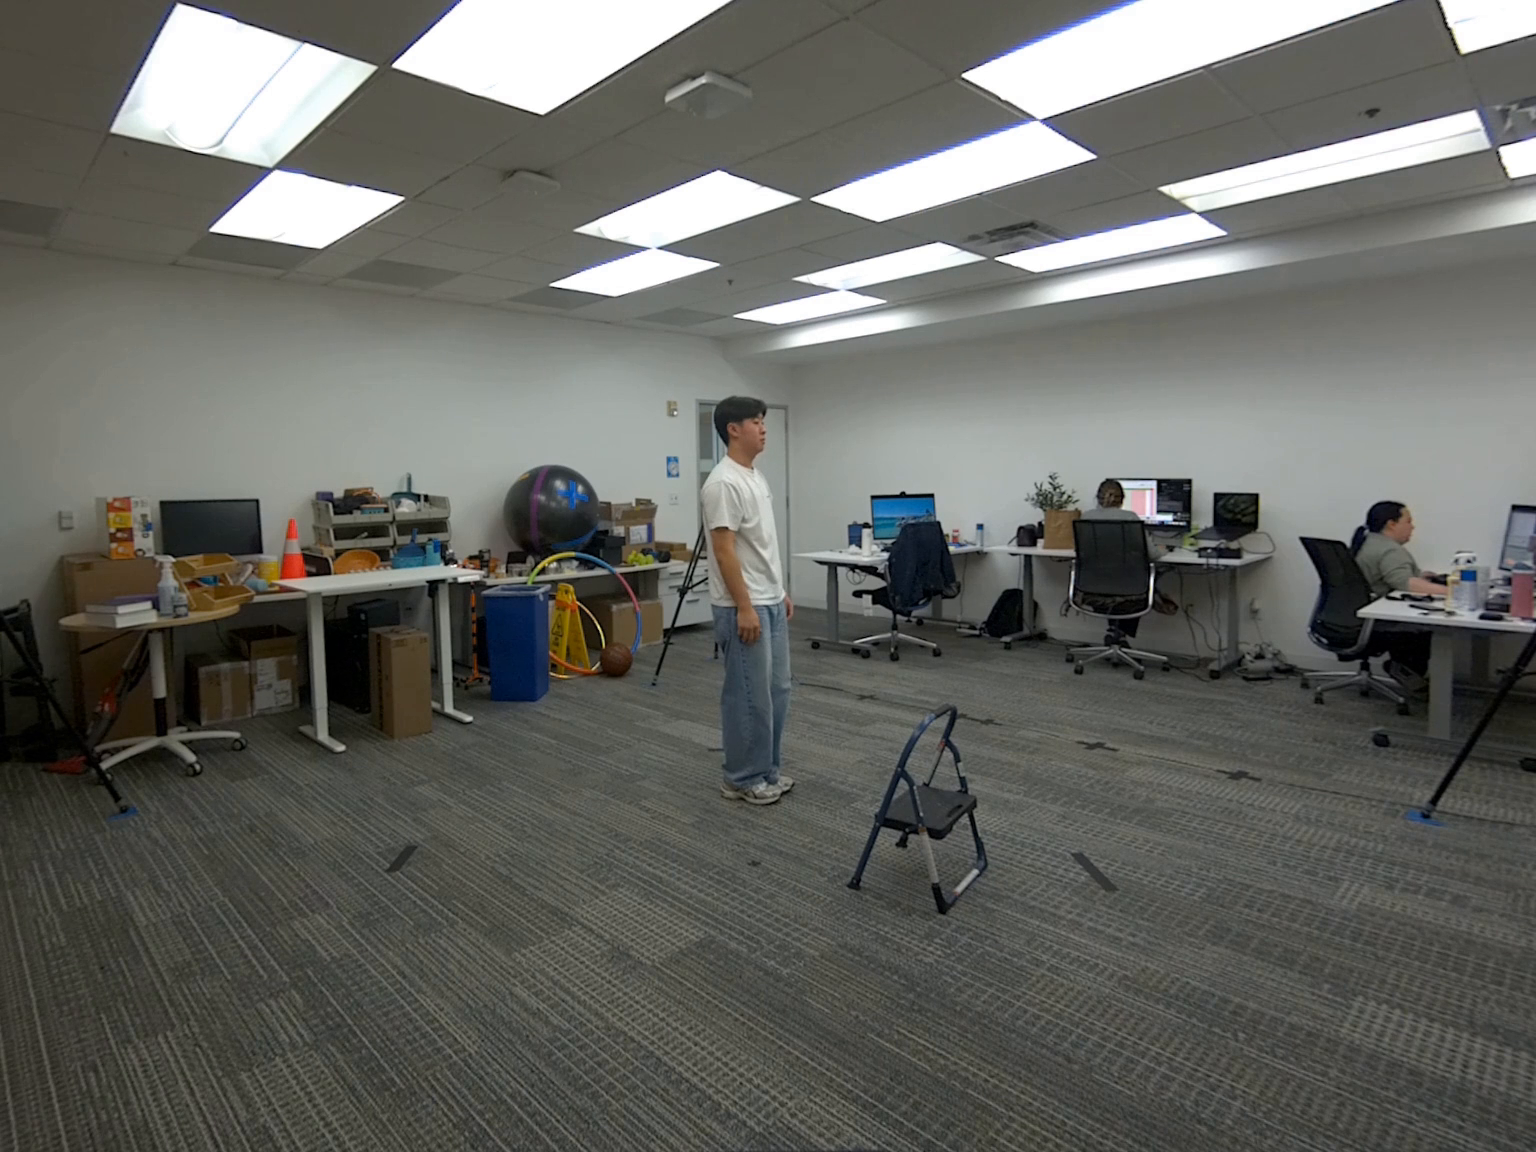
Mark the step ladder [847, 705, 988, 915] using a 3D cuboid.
[{"bbox_3d":[0.530,0.750,2.959,0.359,0.604,0.420,2,5,33],"label":"step ladder"}]
